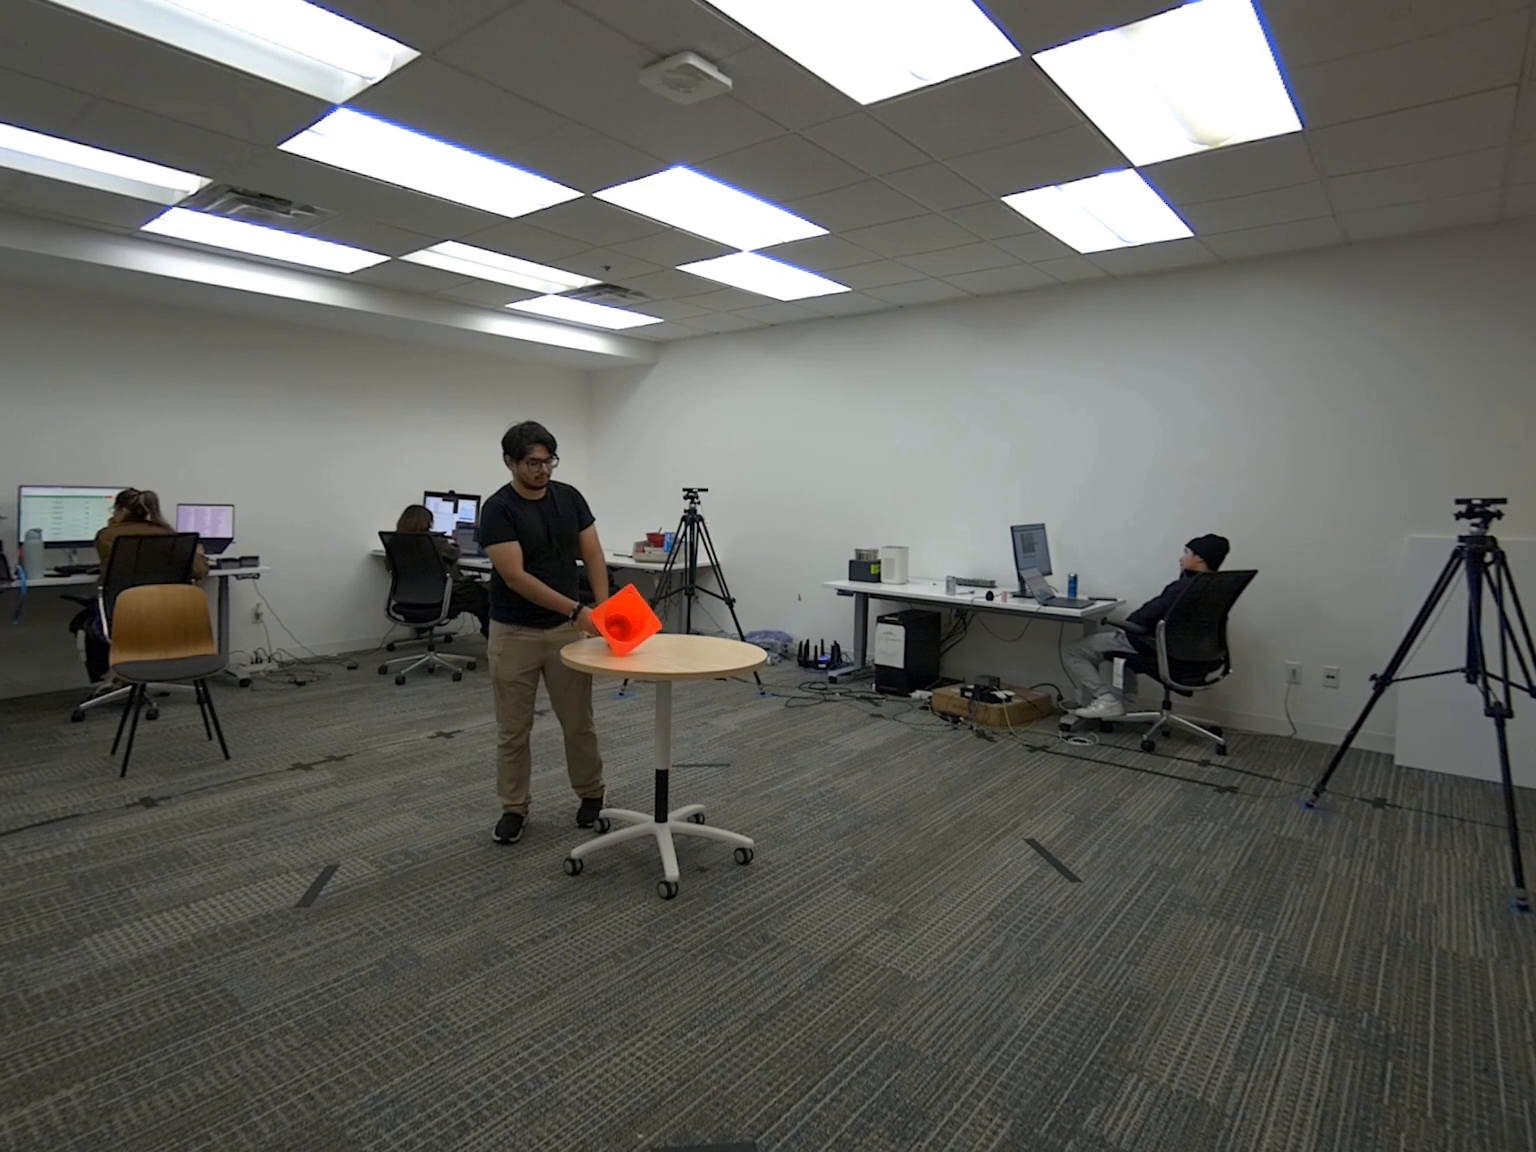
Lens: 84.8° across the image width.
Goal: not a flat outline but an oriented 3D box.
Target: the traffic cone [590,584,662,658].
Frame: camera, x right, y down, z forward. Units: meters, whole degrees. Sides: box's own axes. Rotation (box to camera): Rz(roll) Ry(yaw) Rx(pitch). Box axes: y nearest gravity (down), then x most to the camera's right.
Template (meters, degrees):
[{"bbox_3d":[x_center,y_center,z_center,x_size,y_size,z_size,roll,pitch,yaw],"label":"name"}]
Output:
[{"bbox_3d":[-0.581,0.192,3.232,0.204,0.203,0.386,-36,2,-19],"label":"traffic cone"}]
